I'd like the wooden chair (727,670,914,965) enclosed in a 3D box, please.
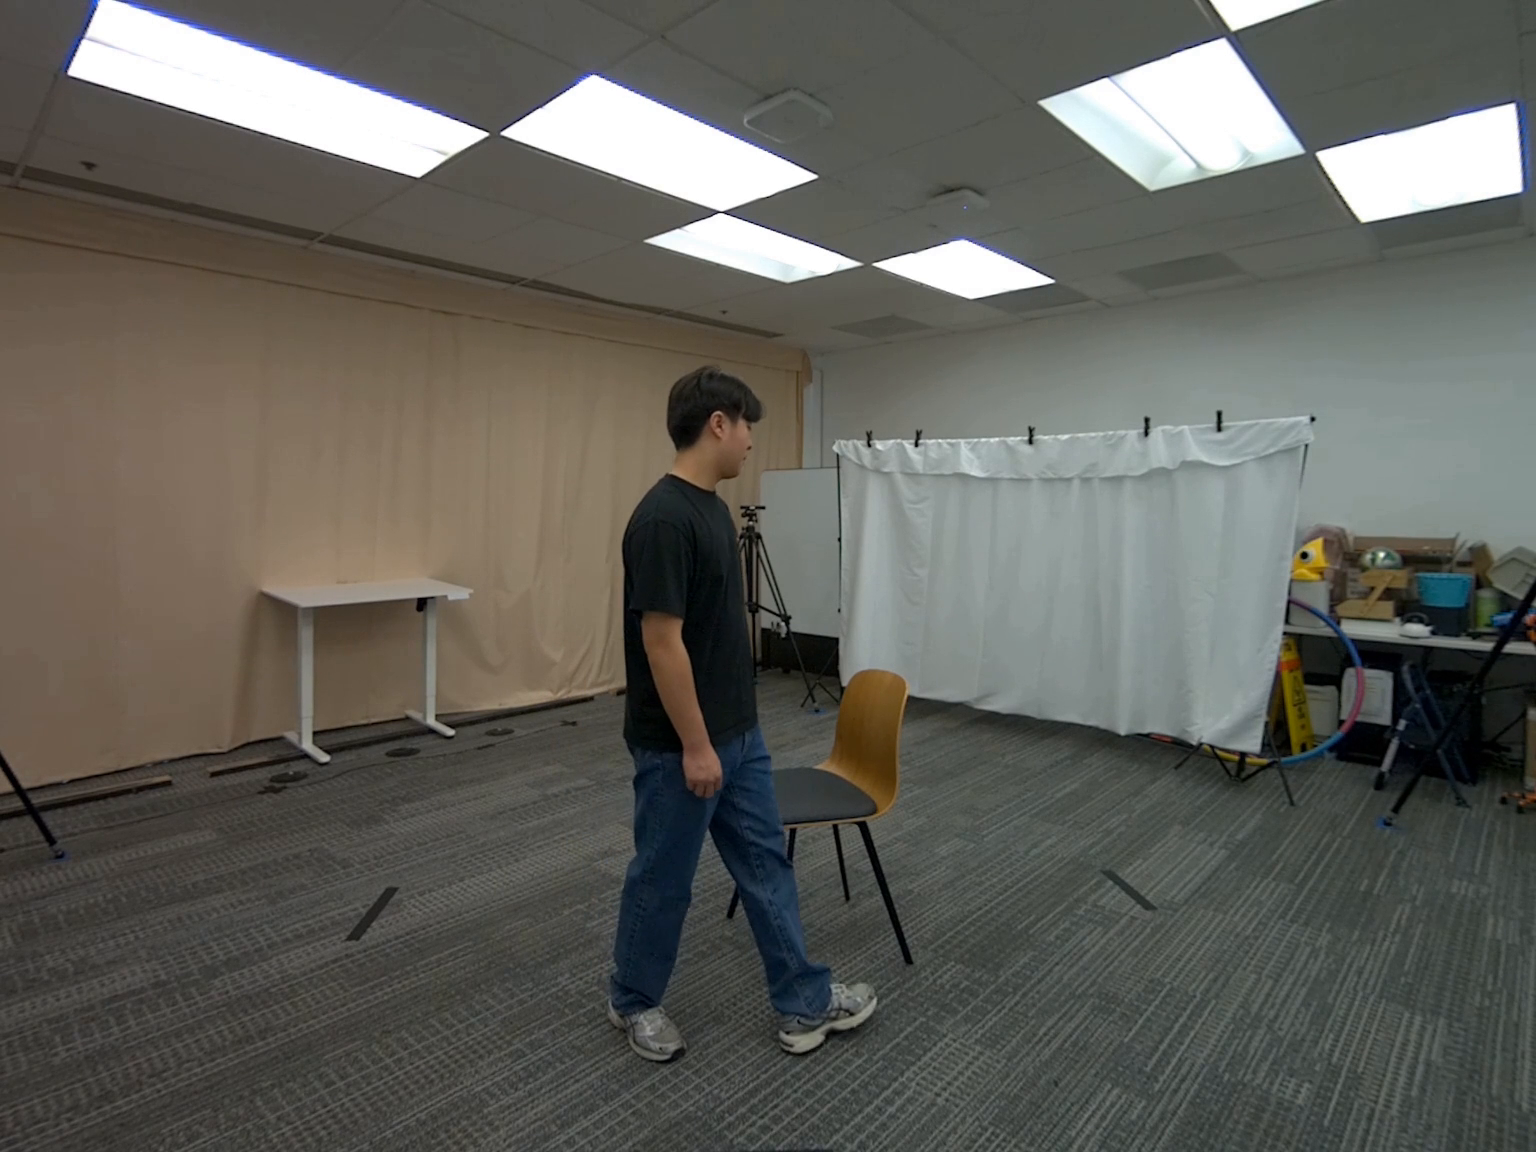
[{"bbox_3d":[0.150,0.743,2.674,0.513,0.876,0.488,3,2,-19],"label":"wooden chair"}]
